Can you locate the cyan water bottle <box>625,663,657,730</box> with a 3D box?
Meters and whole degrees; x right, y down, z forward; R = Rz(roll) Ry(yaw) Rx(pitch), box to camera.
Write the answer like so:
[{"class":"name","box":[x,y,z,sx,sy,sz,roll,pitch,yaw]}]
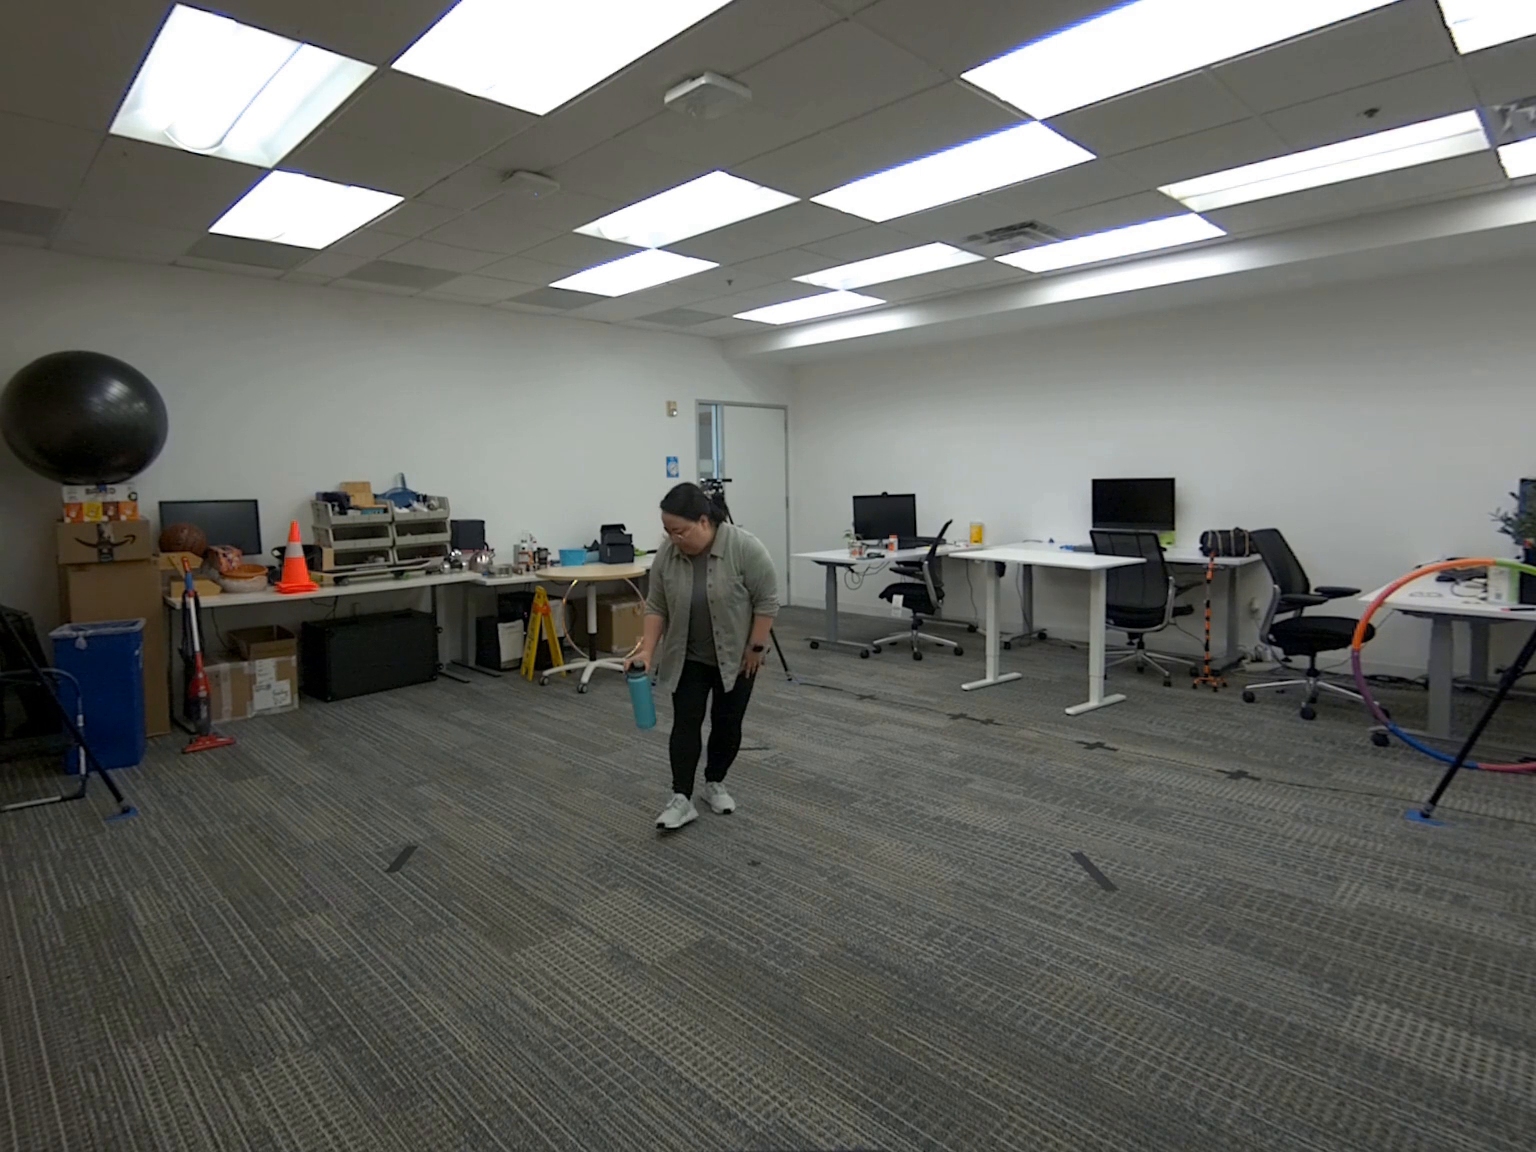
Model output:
[{"class":"cyan water bottle","box":[-0.515,0.484,3.485,0.092,0.279,0.093,-7,15,0]}]
